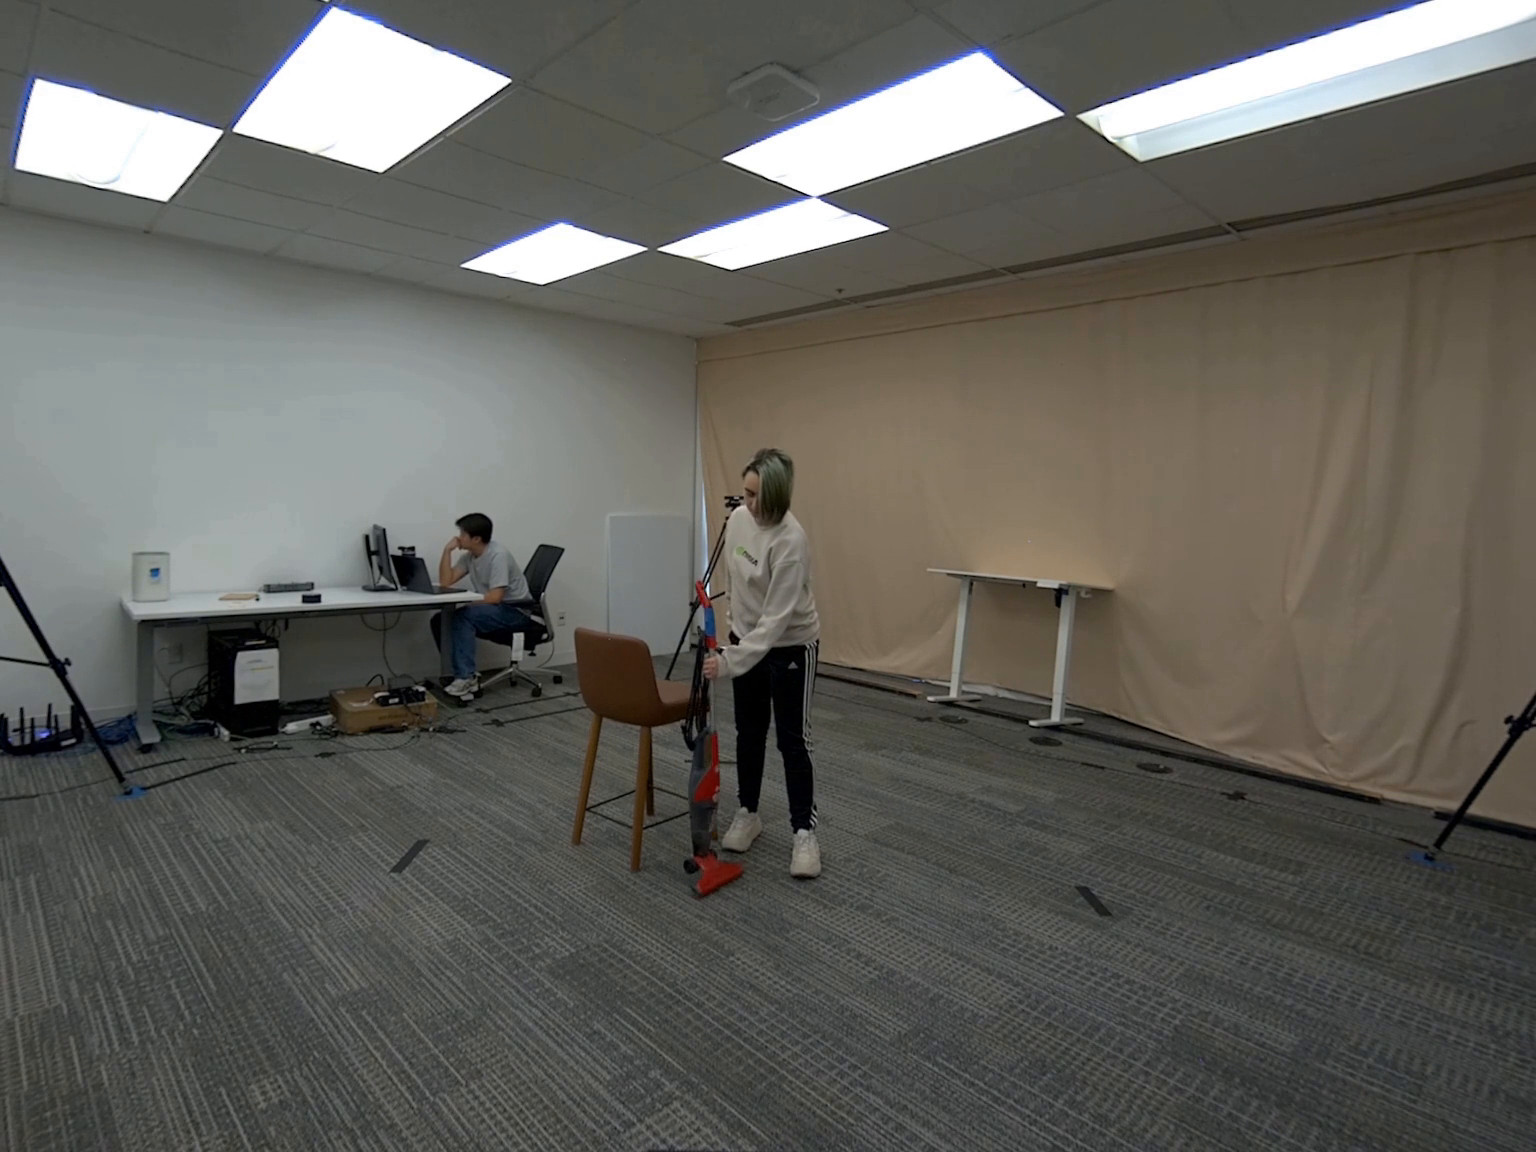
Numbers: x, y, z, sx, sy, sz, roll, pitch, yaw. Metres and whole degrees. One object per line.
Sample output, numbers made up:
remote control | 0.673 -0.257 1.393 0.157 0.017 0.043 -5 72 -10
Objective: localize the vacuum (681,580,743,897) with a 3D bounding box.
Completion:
vacuum | -0.240 0.569 3.028 0.147 1.049 0.247 -2 0 45
